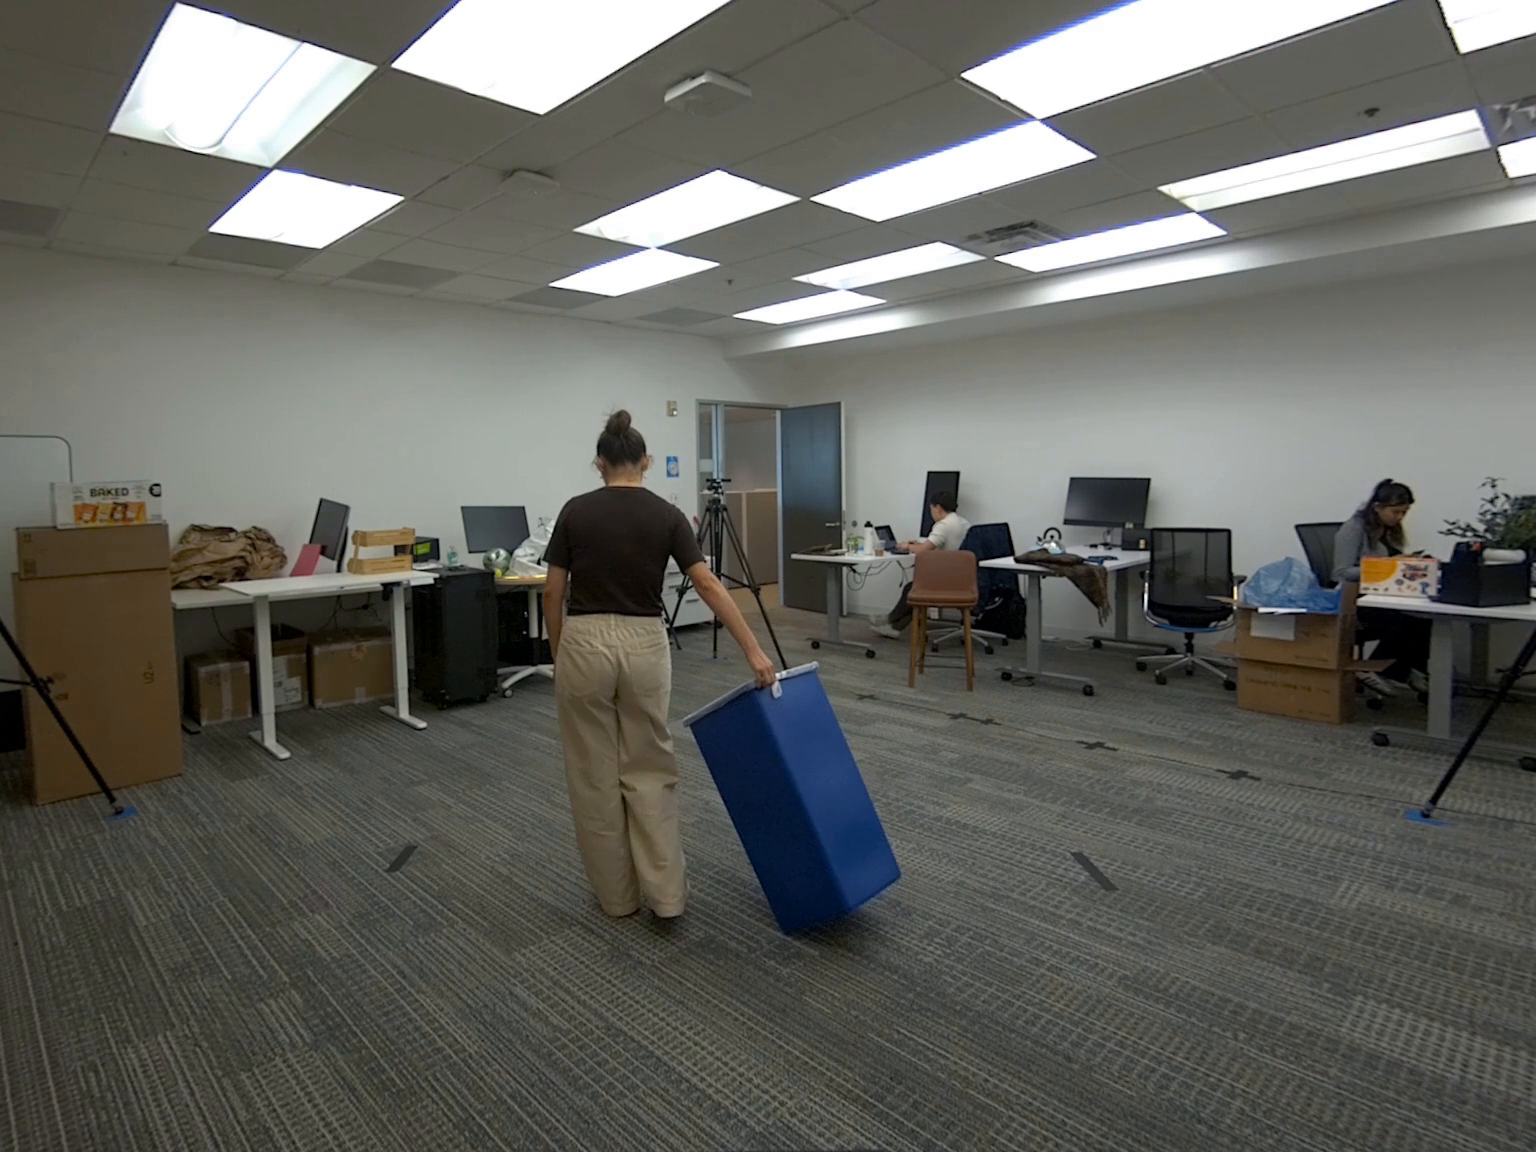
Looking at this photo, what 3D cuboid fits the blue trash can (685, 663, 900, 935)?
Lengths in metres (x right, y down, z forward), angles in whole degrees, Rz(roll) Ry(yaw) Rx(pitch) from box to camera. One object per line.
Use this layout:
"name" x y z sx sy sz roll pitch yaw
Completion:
"blue trash can" 0.086 0.704 2.752 0.368 0.728 0.377 -4 -24 -48
